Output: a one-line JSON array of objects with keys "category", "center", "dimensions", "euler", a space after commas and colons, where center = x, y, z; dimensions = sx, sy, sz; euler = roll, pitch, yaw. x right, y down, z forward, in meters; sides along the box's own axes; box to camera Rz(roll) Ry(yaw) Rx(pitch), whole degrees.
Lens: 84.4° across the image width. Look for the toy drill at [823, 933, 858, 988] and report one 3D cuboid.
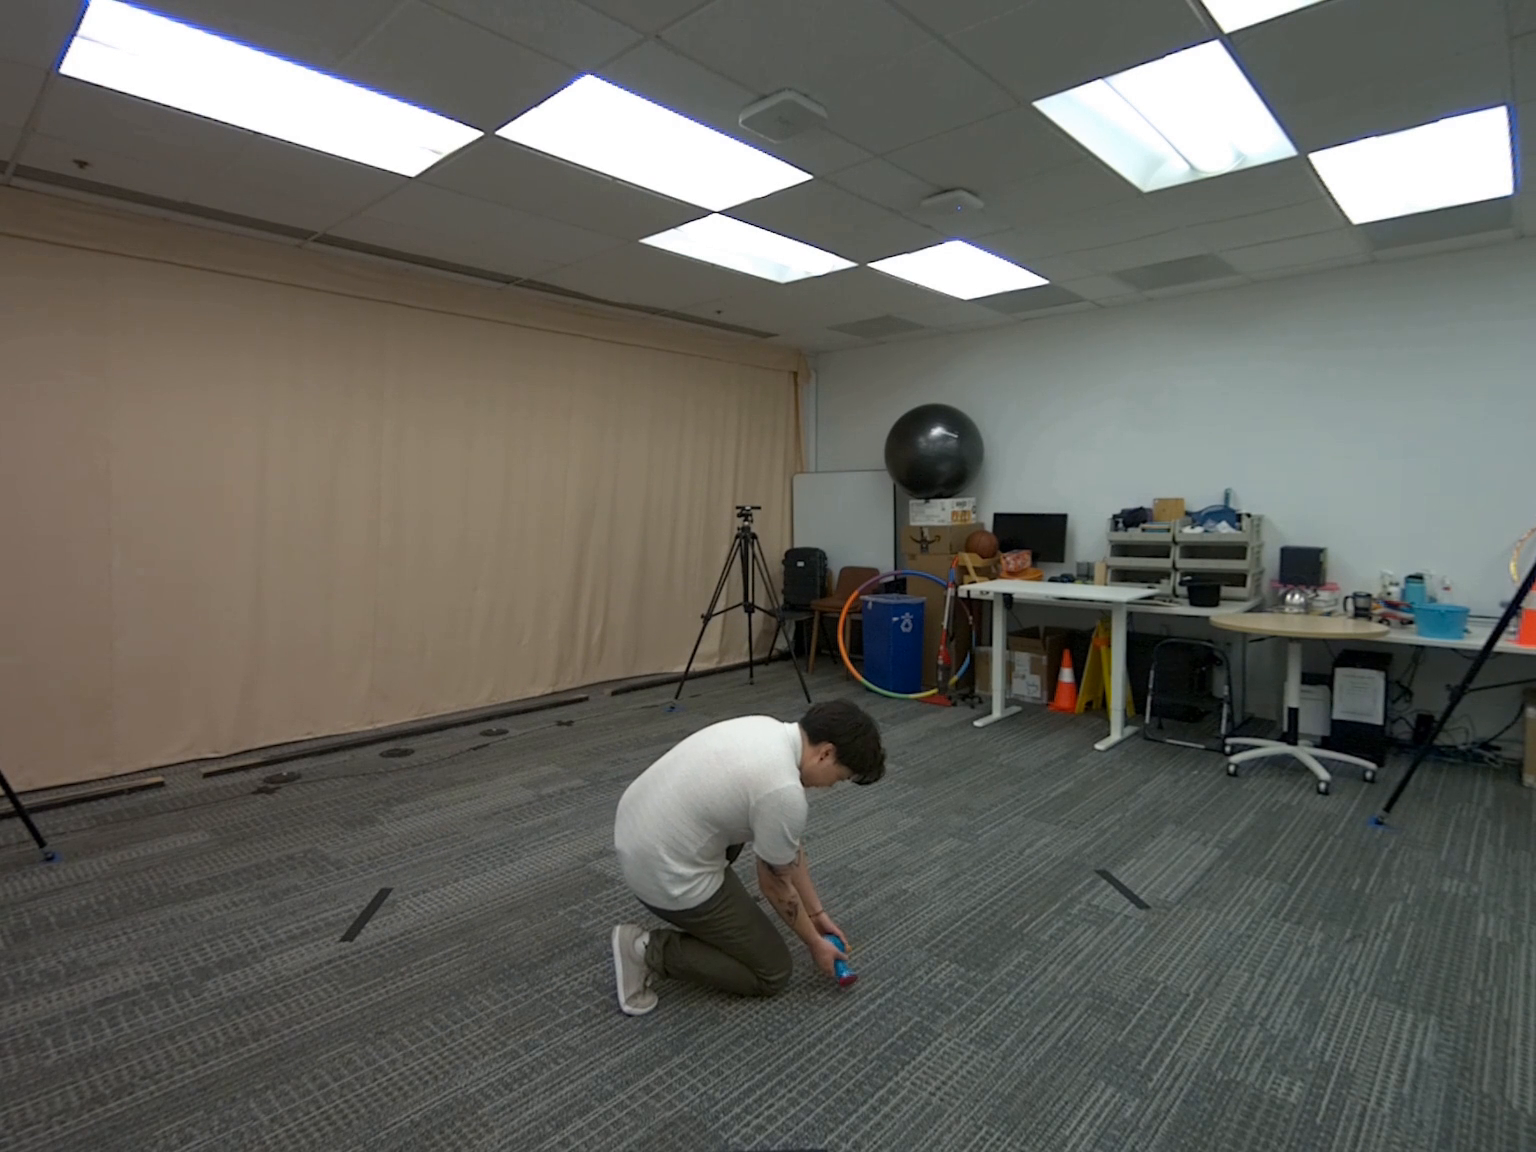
[{"category": "toy drill", "center": [0.217, 1.121, 2.468], "dimensions": [0.163, 0.061, 0.151], "euler": [32, 9, -46]}]
